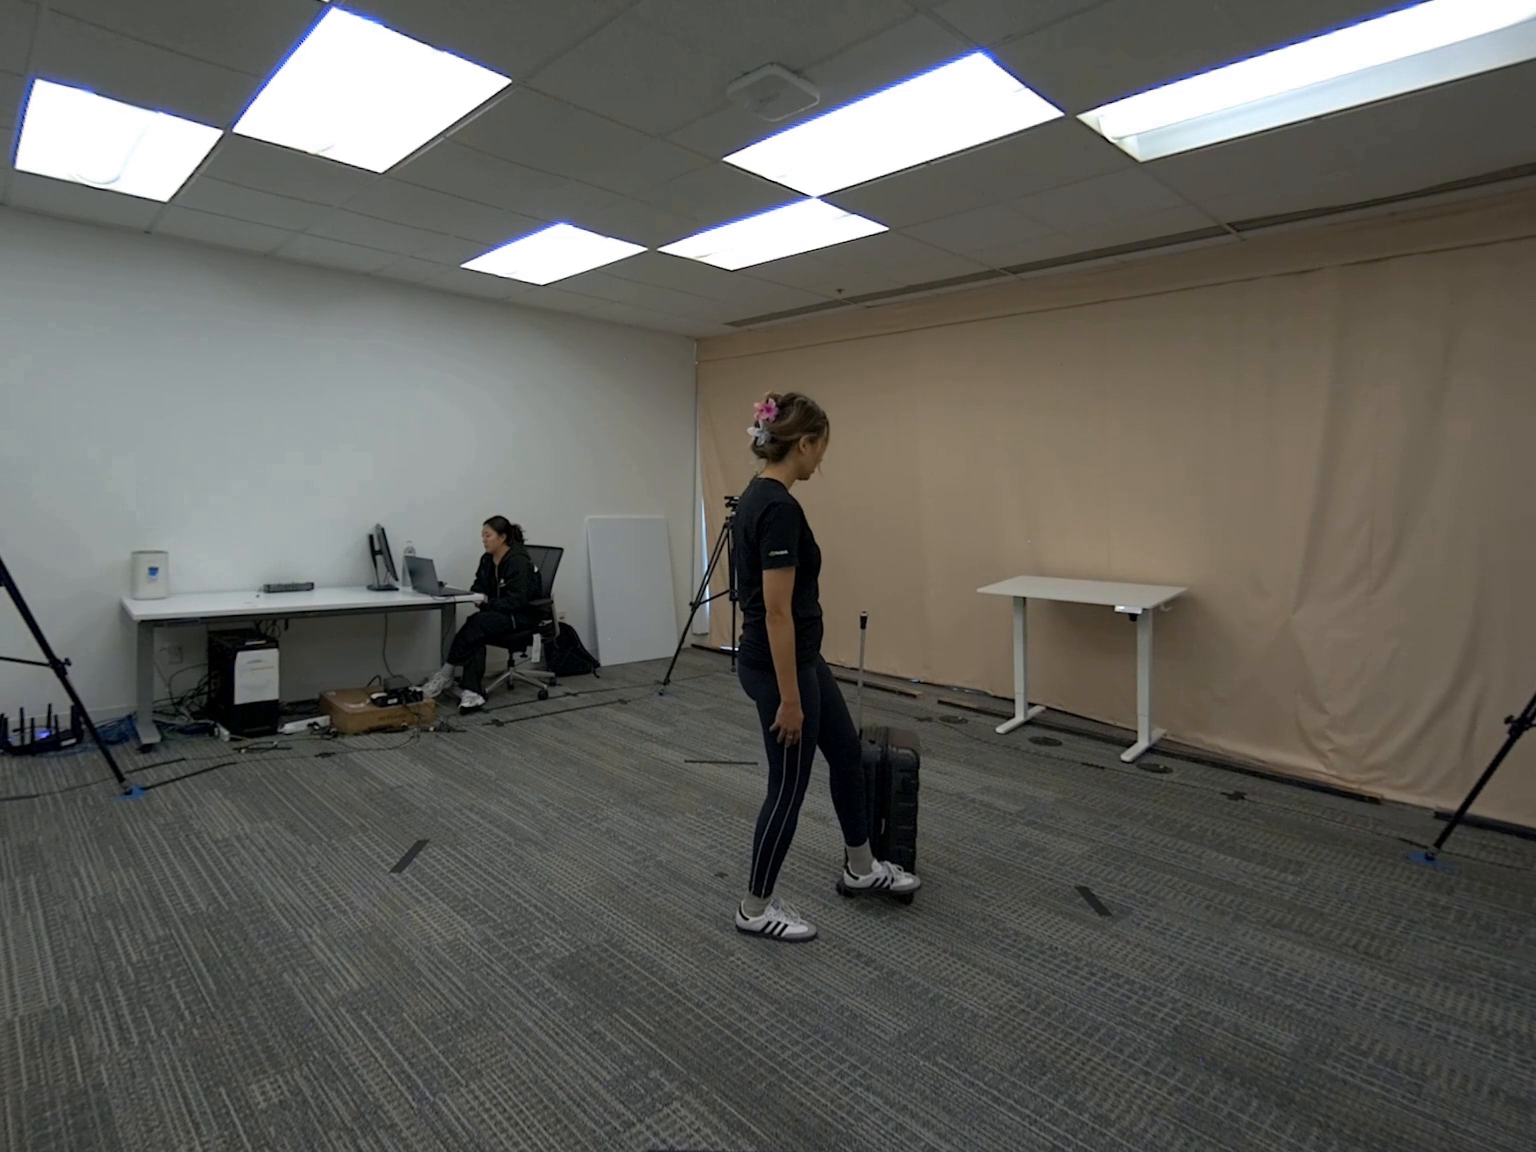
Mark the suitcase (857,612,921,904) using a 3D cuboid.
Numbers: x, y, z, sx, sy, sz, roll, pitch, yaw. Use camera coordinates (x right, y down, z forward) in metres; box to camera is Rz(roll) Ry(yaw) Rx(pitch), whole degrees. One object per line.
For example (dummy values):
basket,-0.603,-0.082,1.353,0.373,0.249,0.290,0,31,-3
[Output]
suitcase,0.430,0.639,3.080,0.259,0.976,0.381,4,3,9
